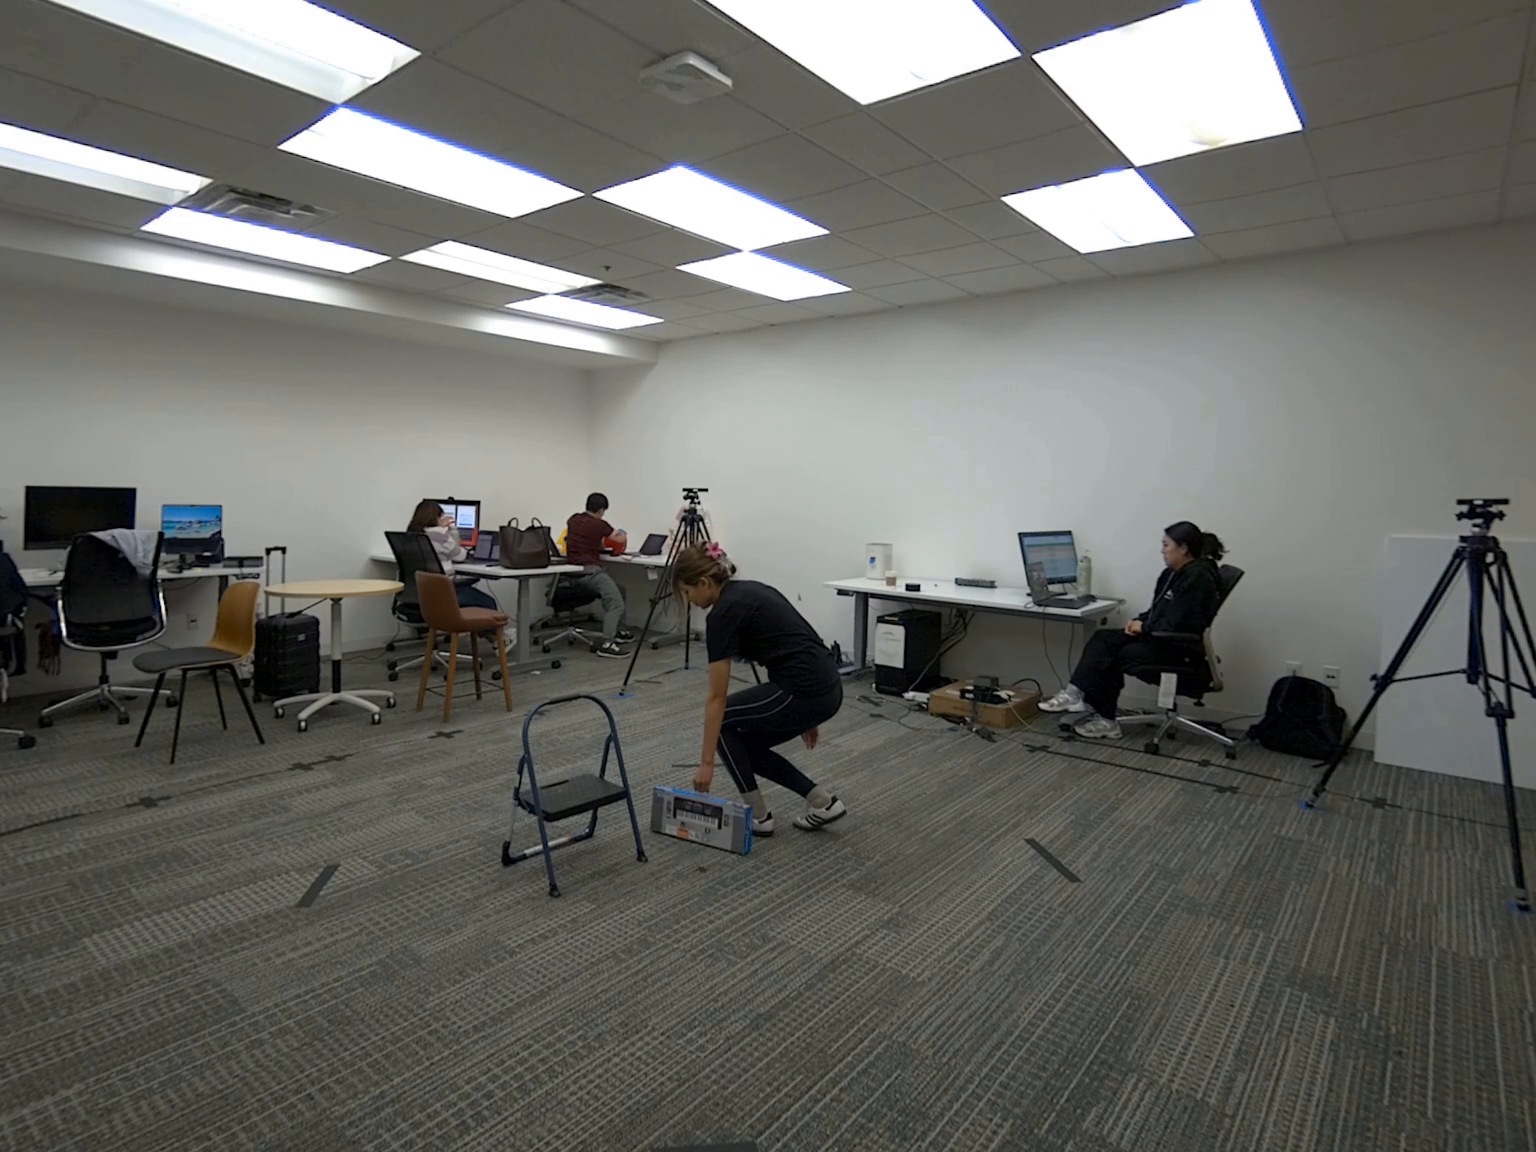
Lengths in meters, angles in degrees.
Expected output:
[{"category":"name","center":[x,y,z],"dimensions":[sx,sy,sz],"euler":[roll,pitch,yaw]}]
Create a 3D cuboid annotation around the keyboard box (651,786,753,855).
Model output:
[{"category":"keyboard box","center":[-0.274,0.949,3.363],"dimensions":[0.449,0.176,0.057],"euler":[3,-1,30]}]
